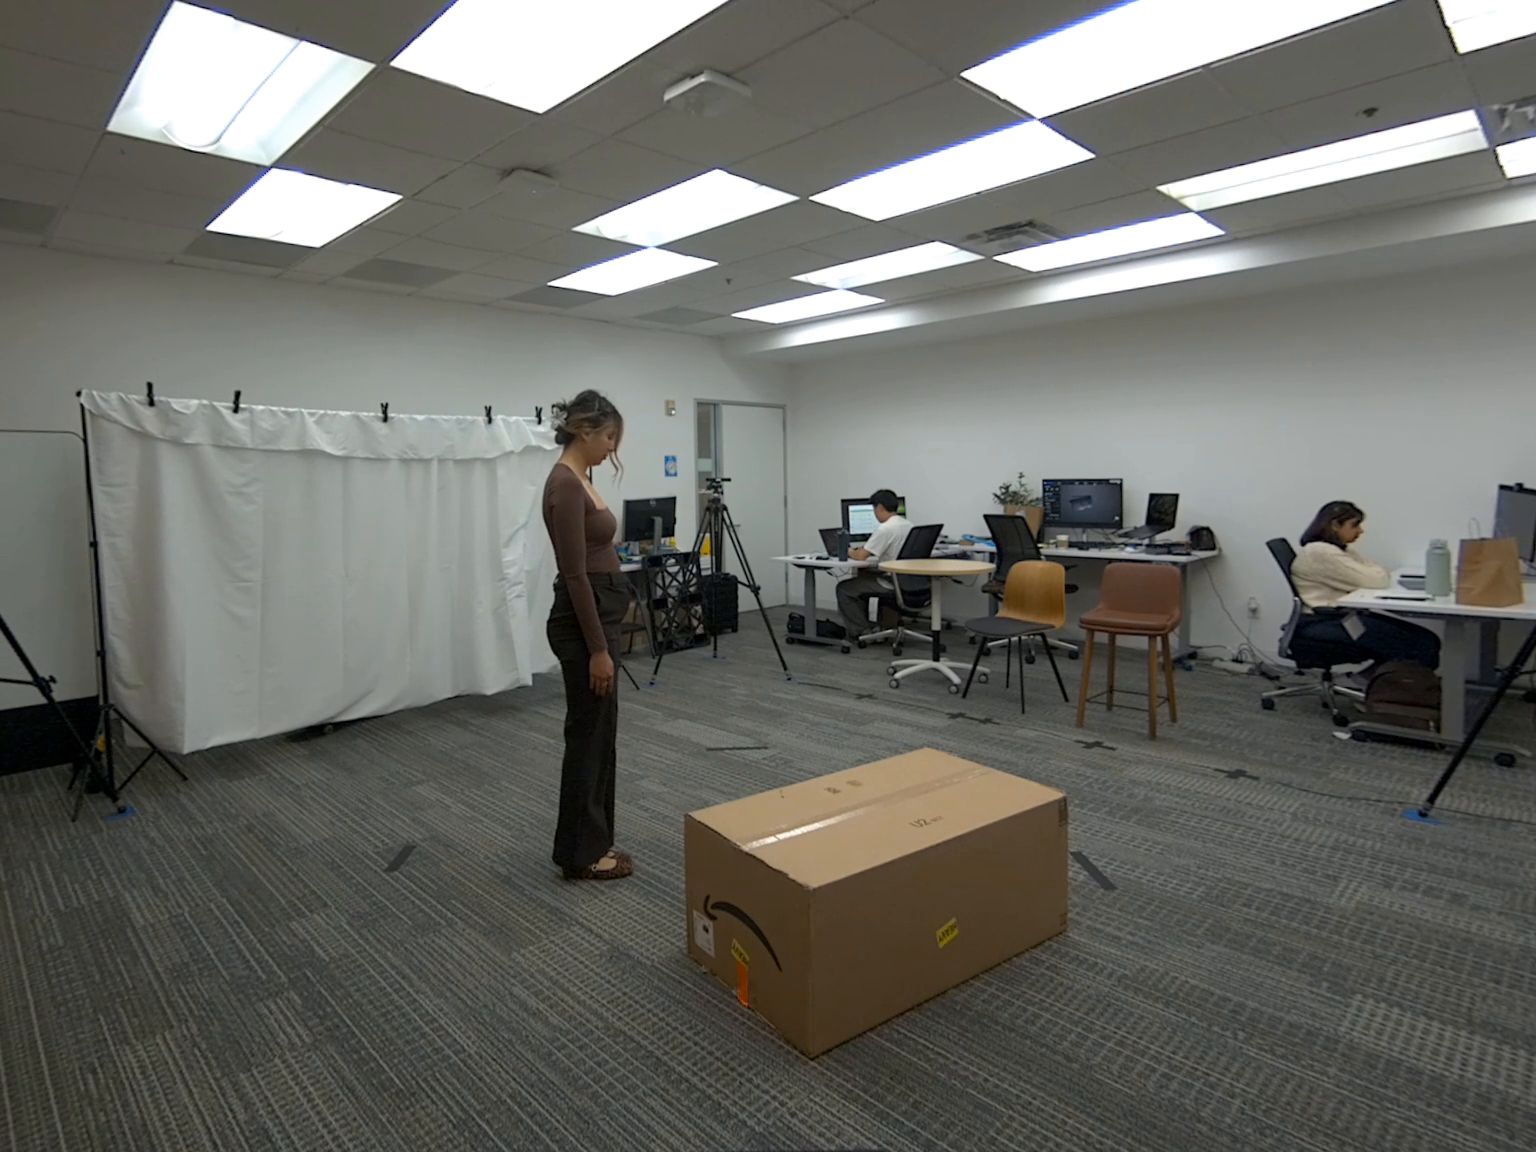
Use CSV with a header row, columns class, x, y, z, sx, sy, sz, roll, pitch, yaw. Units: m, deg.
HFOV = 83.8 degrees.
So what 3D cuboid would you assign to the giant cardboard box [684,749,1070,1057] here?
class,x,y,z,sx,sy,sz,roll,pitch,yaw
giant cardboard box,0.334,0.890,2.548,1.002,0.444,0.602,-6,8,-34
